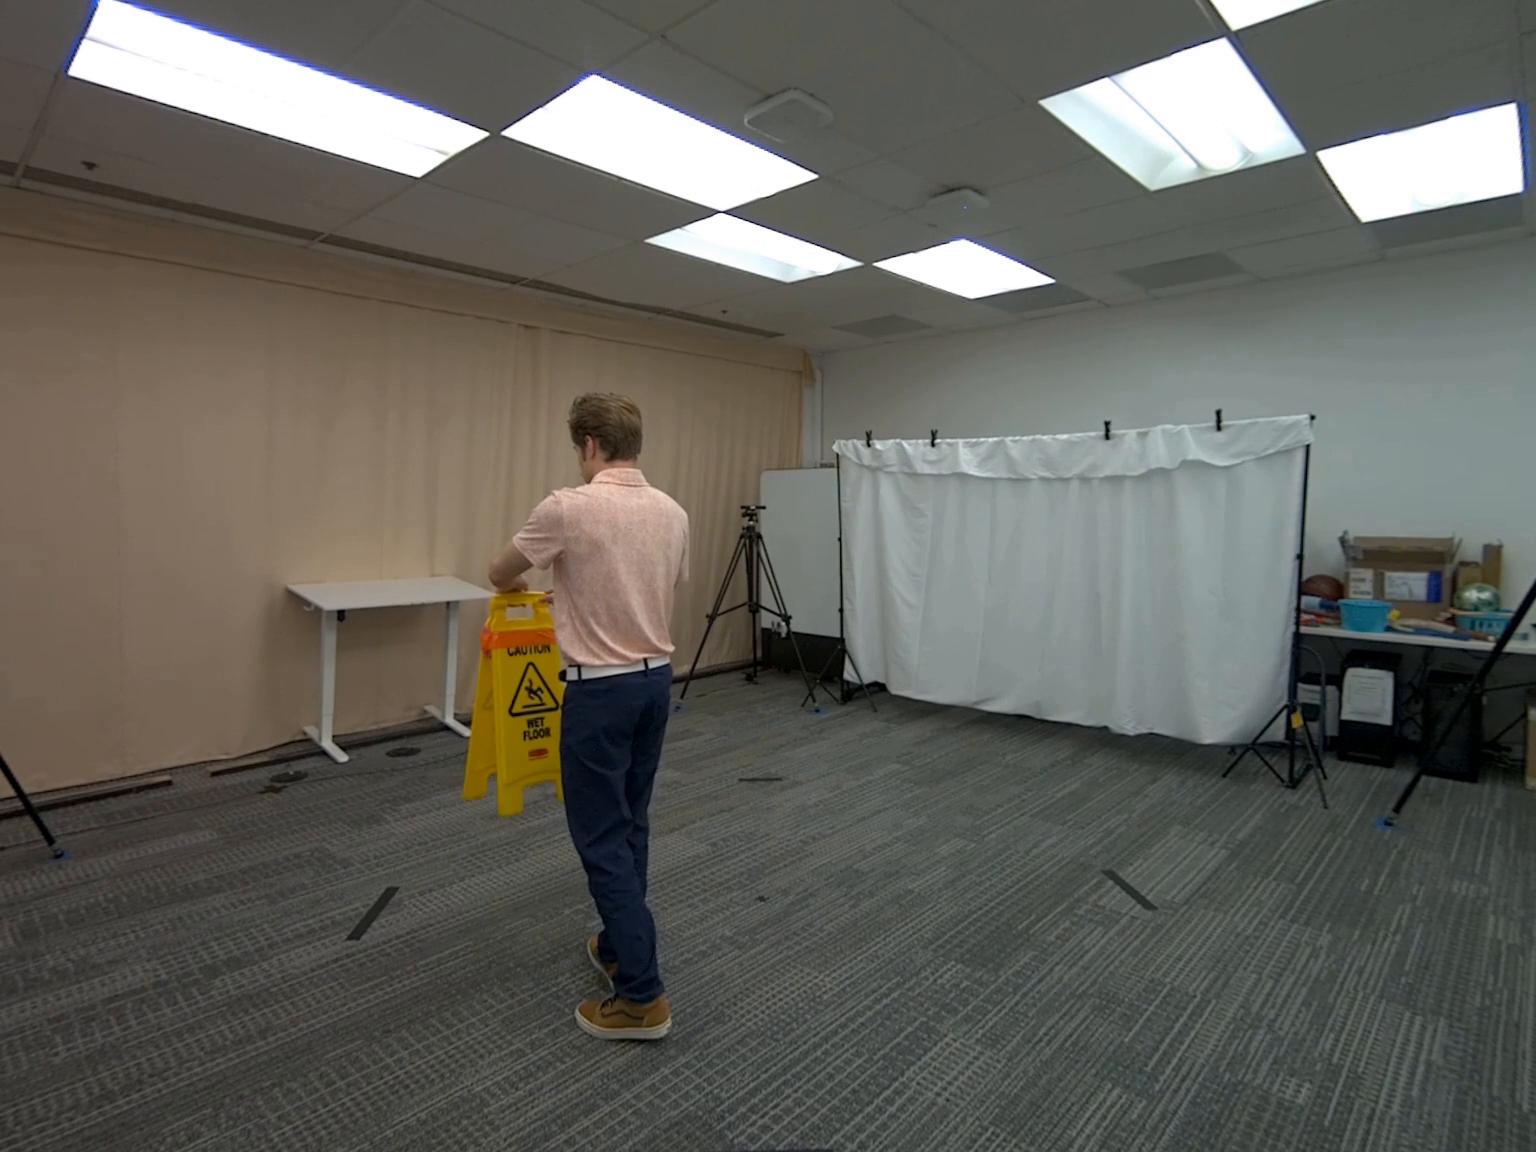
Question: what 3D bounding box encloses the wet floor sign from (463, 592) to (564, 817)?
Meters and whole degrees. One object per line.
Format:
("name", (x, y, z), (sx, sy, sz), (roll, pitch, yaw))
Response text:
("wet floor sign", (-0.779, 0.381, 2.652), (0.299, 0.646, 0.273), (0, 1, 45))
